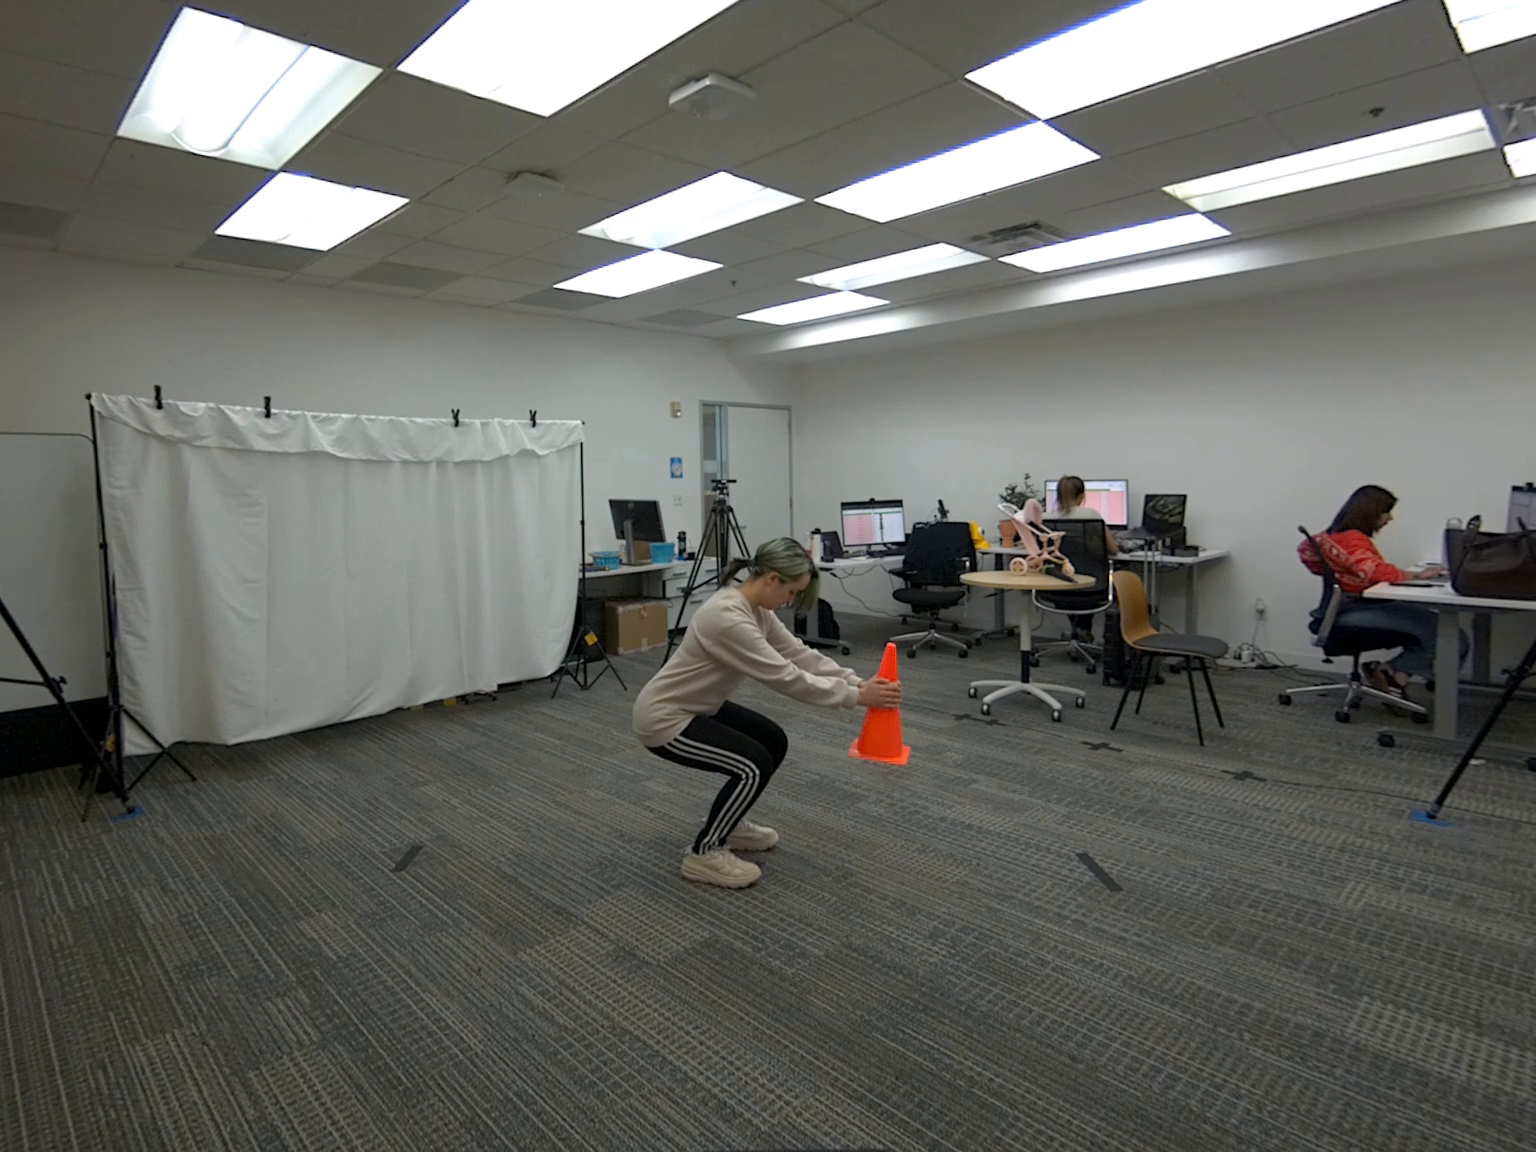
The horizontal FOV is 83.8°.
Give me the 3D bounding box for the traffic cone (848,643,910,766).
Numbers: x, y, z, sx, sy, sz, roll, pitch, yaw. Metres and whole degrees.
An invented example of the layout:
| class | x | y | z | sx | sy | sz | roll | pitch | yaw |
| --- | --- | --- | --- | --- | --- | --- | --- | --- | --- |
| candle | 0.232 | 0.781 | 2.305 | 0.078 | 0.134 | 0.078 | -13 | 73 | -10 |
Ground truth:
| class | x | y | z | sx | sy | sz | roll | pitch | yaw |
| --- | --- | --- | --- | --- | --- | --- | --- | --- | --- |
| traffic cone | 0.396 | 0.415 | 2.941 | 0.207 | 0.381 | 0.202 | 6 | 8 | 17 |
